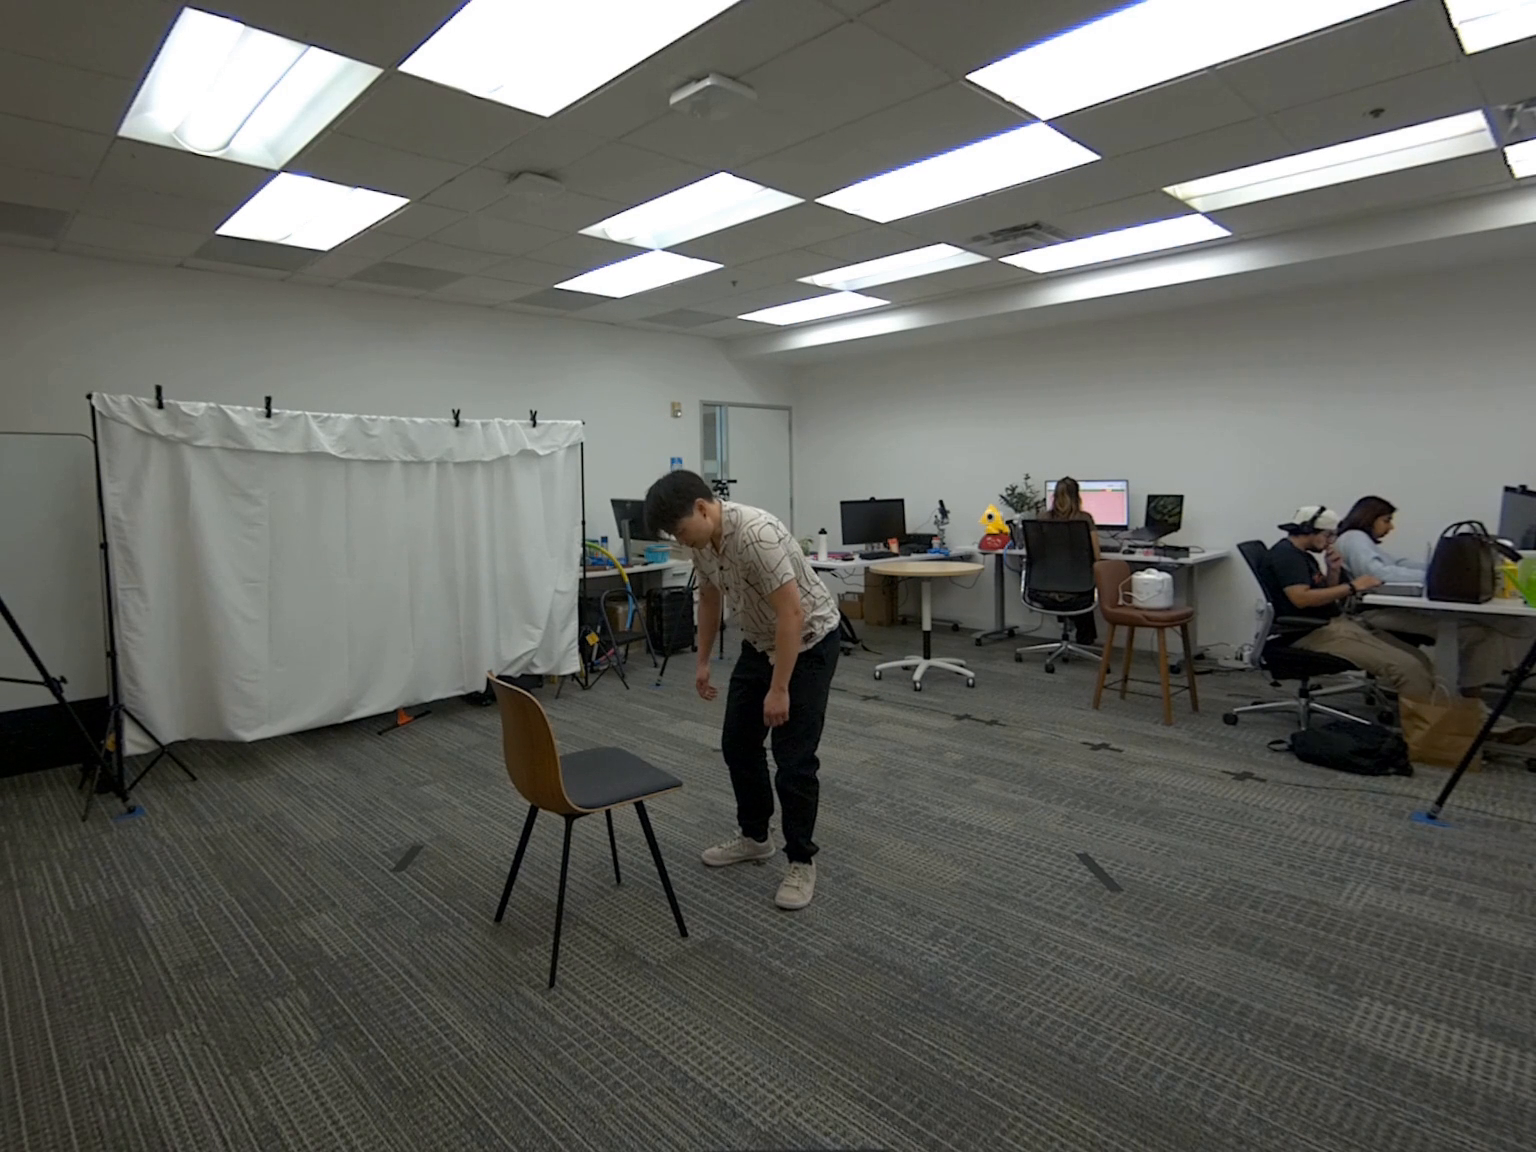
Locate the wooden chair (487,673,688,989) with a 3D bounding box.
[{"bbox_3d":[-0.560,0.683,2.650,0.511,0.872,0.492,-10,8,-35],"label":"wooden chair"}]
